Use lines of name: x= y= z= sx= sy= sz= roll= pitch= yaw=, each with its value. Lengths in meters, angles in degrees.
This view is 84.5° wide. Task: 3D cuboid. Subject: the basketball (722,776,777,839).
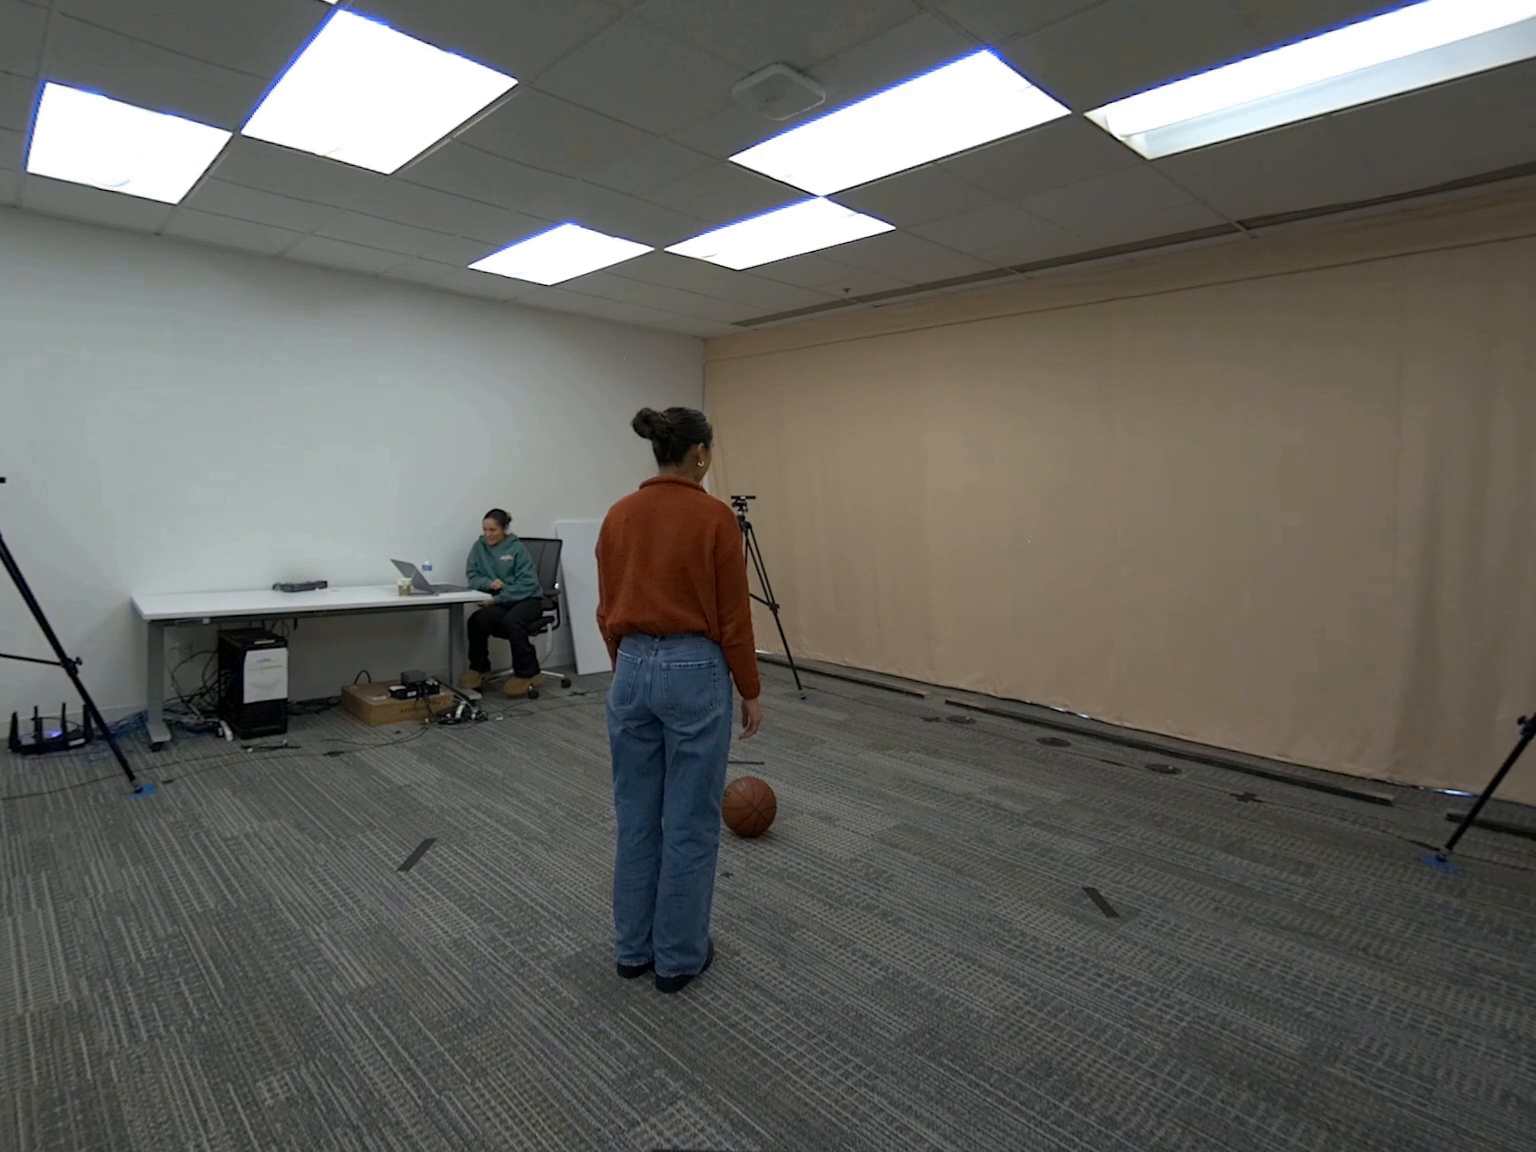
basketball: x=-0.092 y=0.947 z=3.479 sx=0.236 sy=0.235 sz=0.237 roll=1 pitch=4 yaw=-1
